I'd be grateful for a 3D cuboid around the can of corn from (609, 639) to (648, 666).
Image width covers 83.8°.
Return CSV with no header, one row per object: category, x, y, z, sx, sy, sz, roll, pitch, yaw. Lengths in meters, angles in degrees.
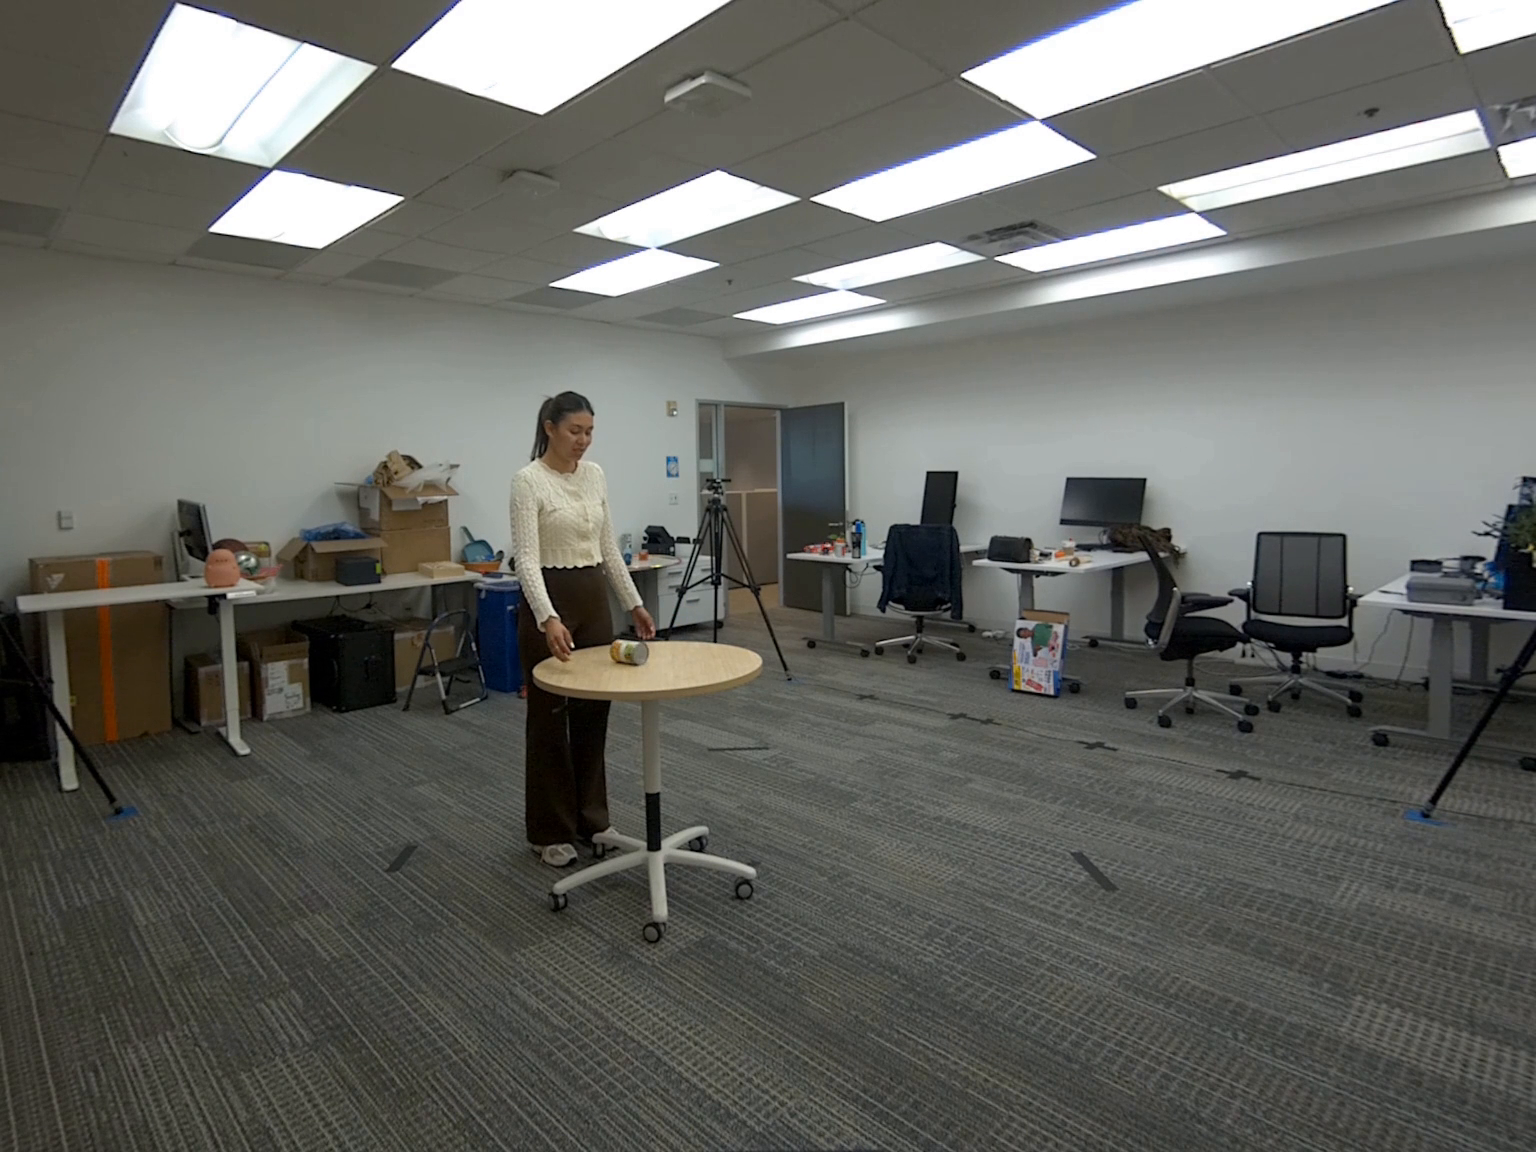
can of corn,-0.463,0.254,2.886,0.114,0.074,0.072,2,6,33
